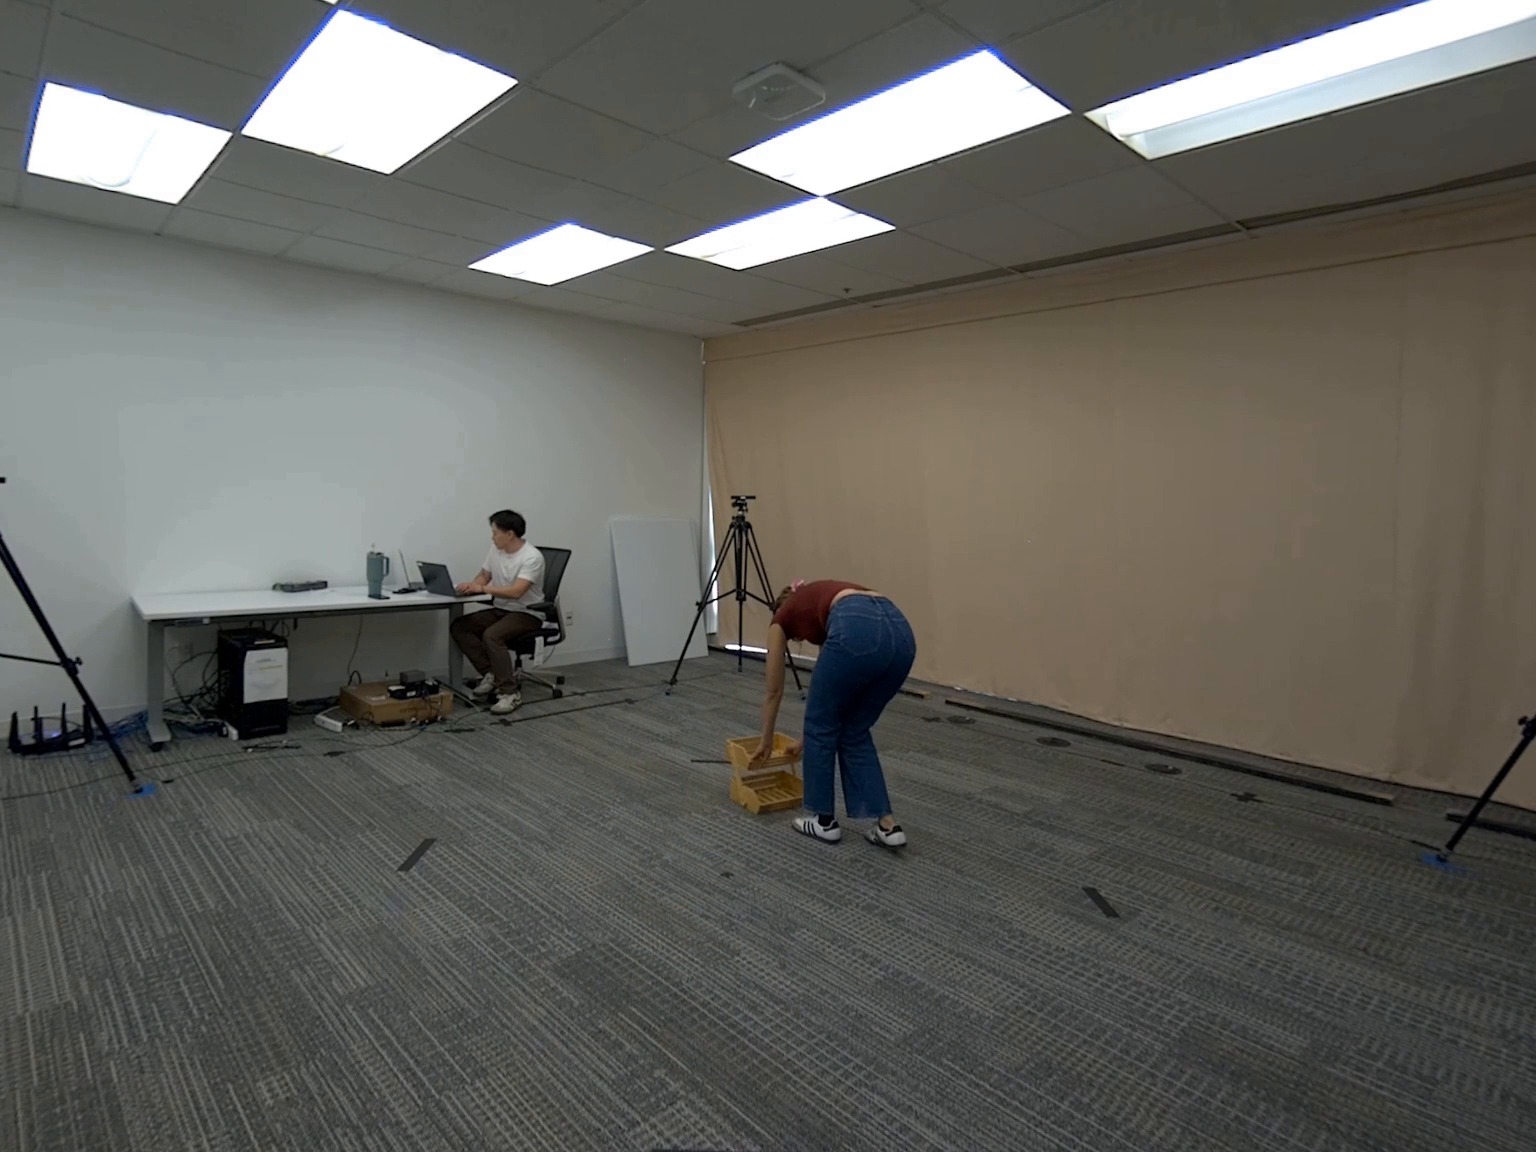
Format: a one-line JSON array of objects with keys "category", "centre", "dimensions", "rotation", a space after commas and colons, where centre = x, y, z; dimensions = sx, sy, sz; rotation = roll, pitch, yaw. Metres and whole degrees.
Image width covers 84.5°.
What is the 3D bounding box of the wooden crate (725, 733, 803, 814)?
[{"category": "wooden crate", "centre": [-0.001, 0.900, 3.894], "dimensions": [0.317, 0.273, 0.309], "rotation": [-1, 4, -34]}]
